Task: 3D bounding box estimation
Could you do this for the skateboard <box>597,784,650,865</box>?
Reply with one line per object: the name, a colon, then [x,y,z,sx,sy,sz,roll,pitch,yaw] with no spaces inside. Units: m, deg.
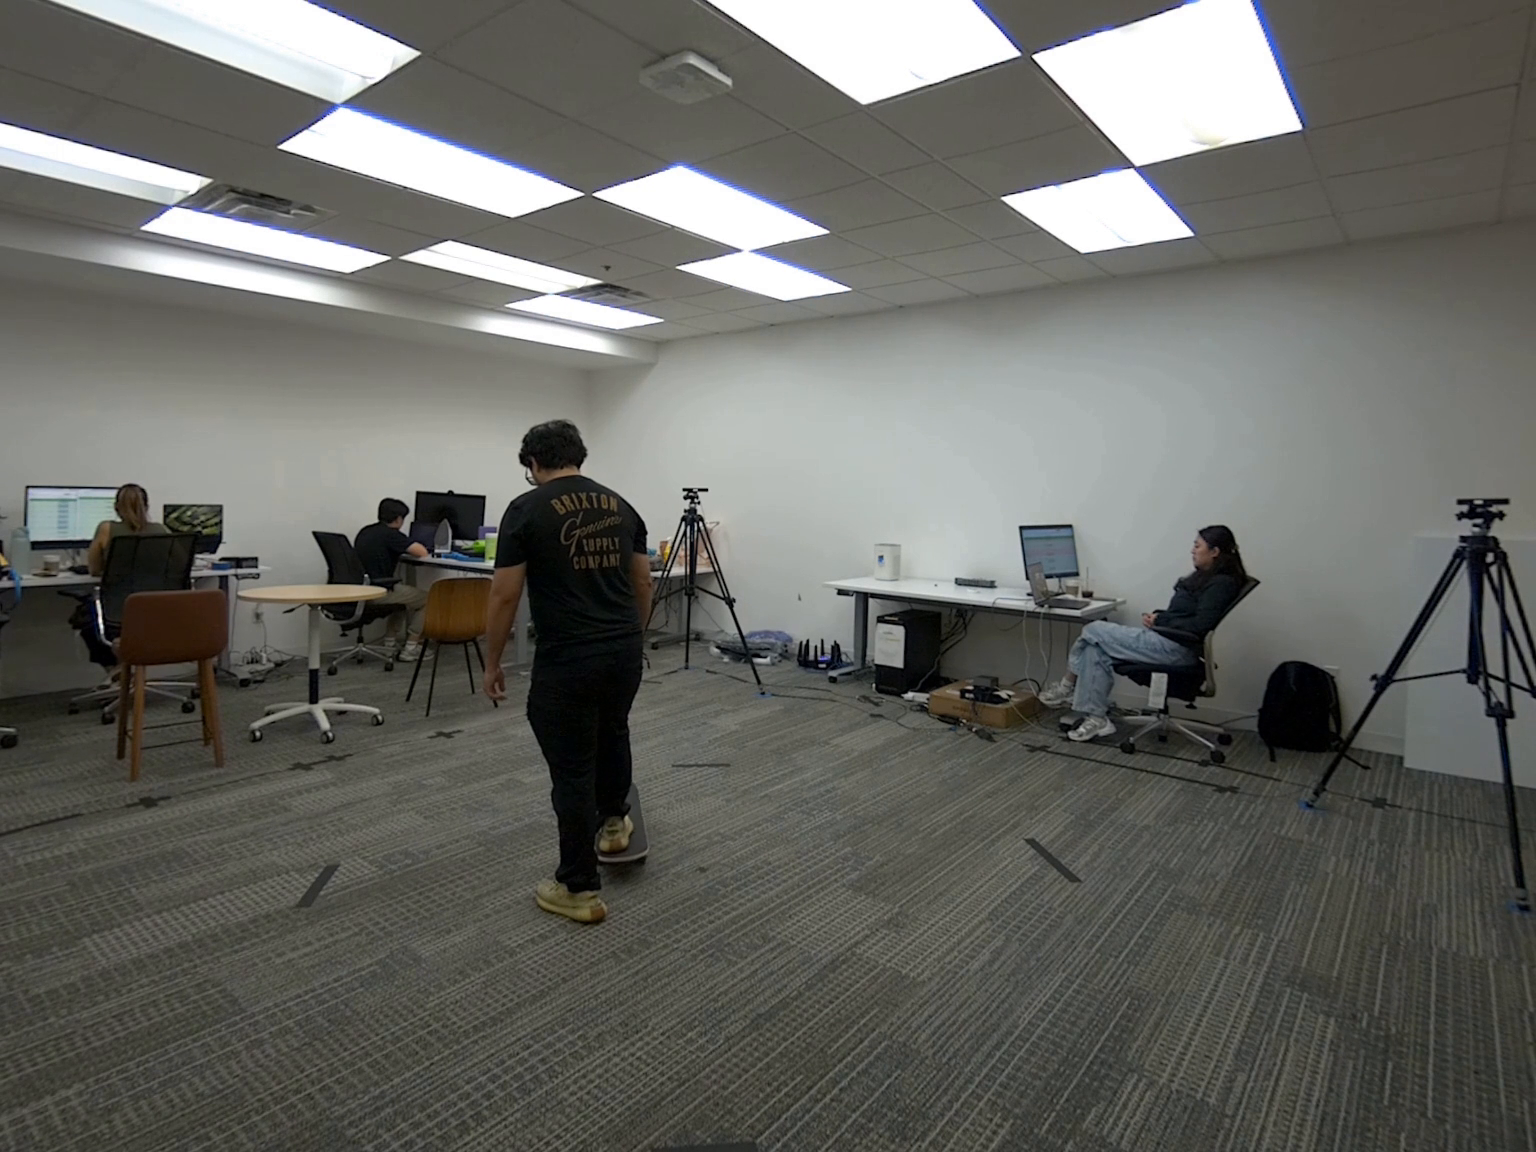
skateboard: [-0.603,0.983,3.341,0.191,0.110,0.798,-4,7,-12]
